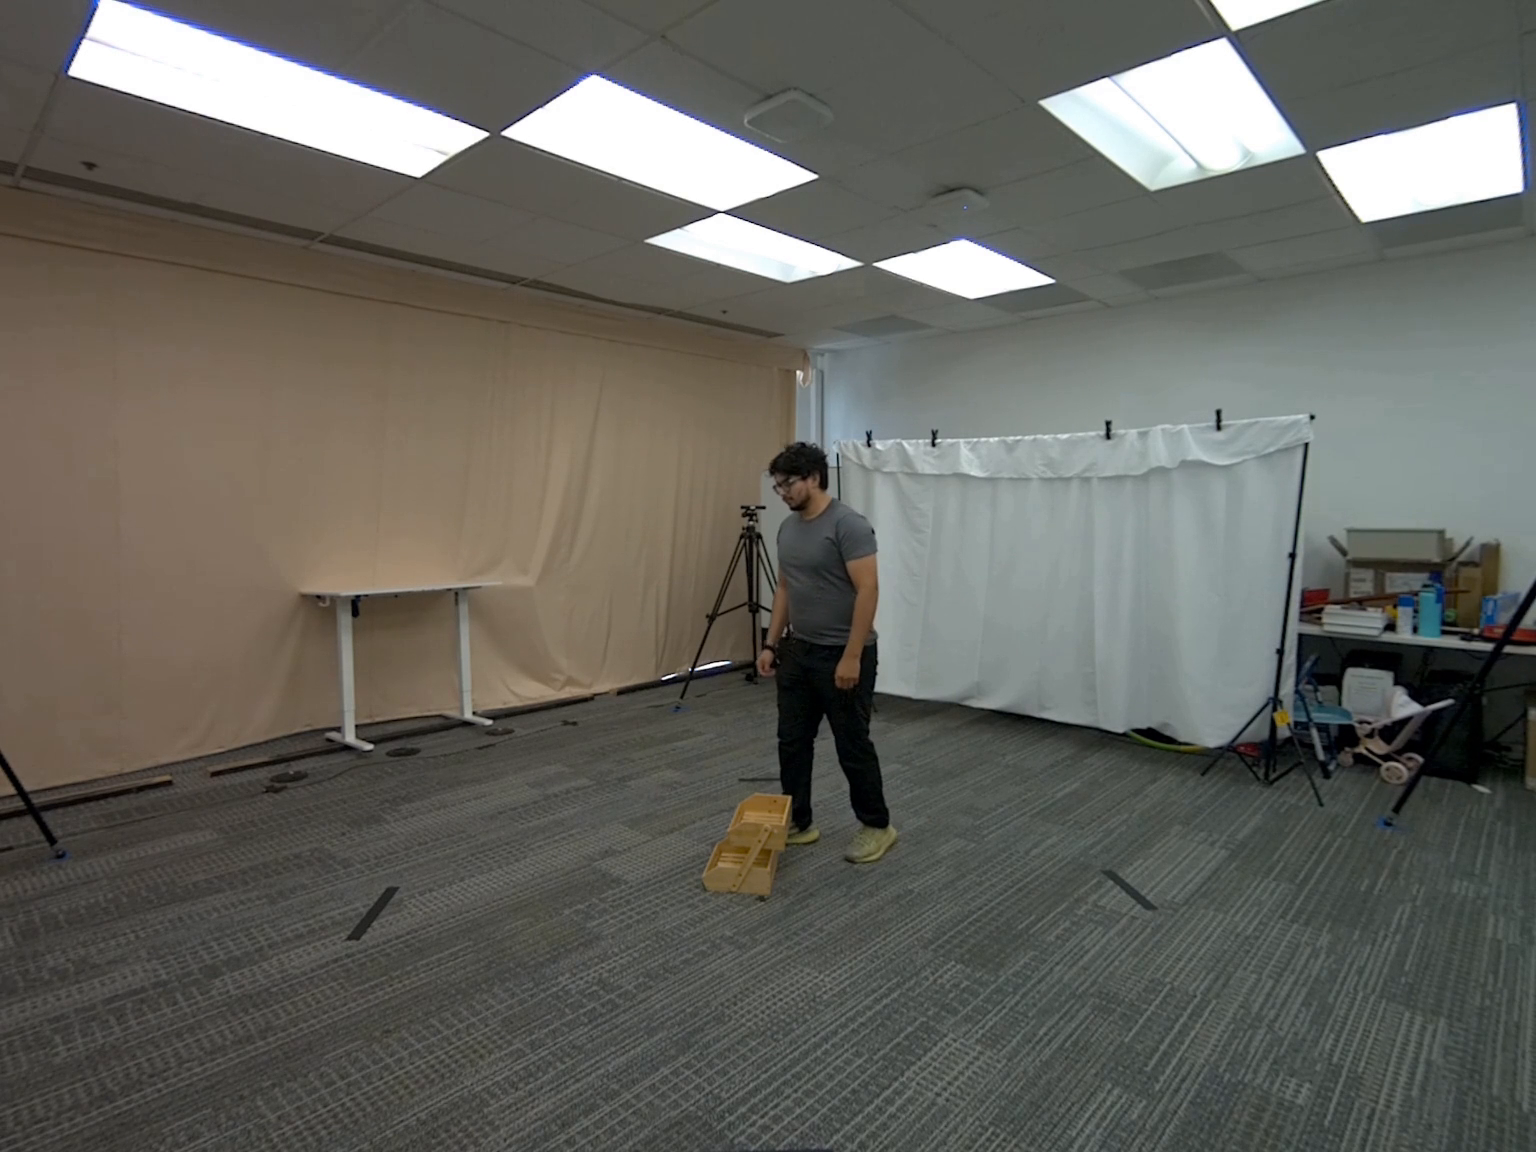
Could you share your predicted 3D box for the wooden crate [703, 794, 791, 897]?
[{"bbox_3d":[-0.081,0.998,3.164,0.305,0.273,0.322,1,3,7],"label":"wooden crate"}]
